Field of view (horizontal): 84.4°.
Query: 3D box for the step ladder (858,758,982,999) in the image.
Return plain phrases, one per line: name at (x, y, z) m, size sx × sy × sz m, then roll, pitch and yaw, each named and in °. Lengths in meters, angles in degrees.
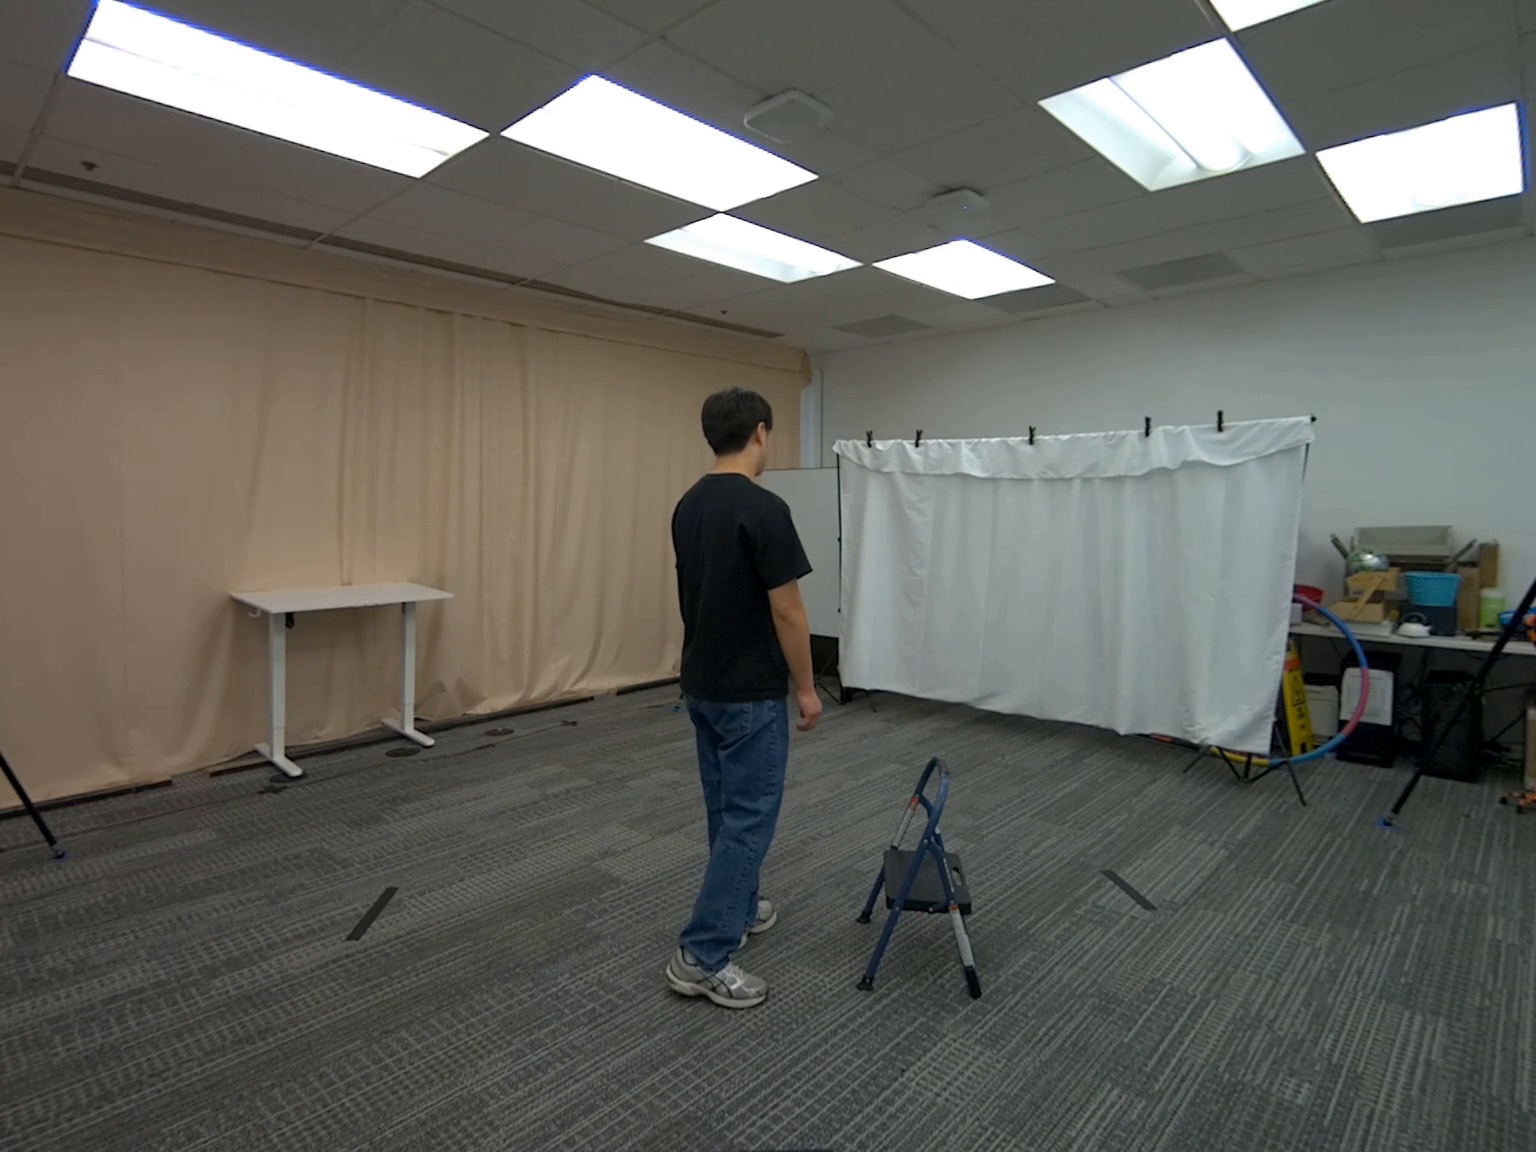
step ladder at (0.460, 0.874, 2.583) m, size 0.352 × 0.605 × 0.428 m, roll 0°, pitch 4°, yaw 7°
